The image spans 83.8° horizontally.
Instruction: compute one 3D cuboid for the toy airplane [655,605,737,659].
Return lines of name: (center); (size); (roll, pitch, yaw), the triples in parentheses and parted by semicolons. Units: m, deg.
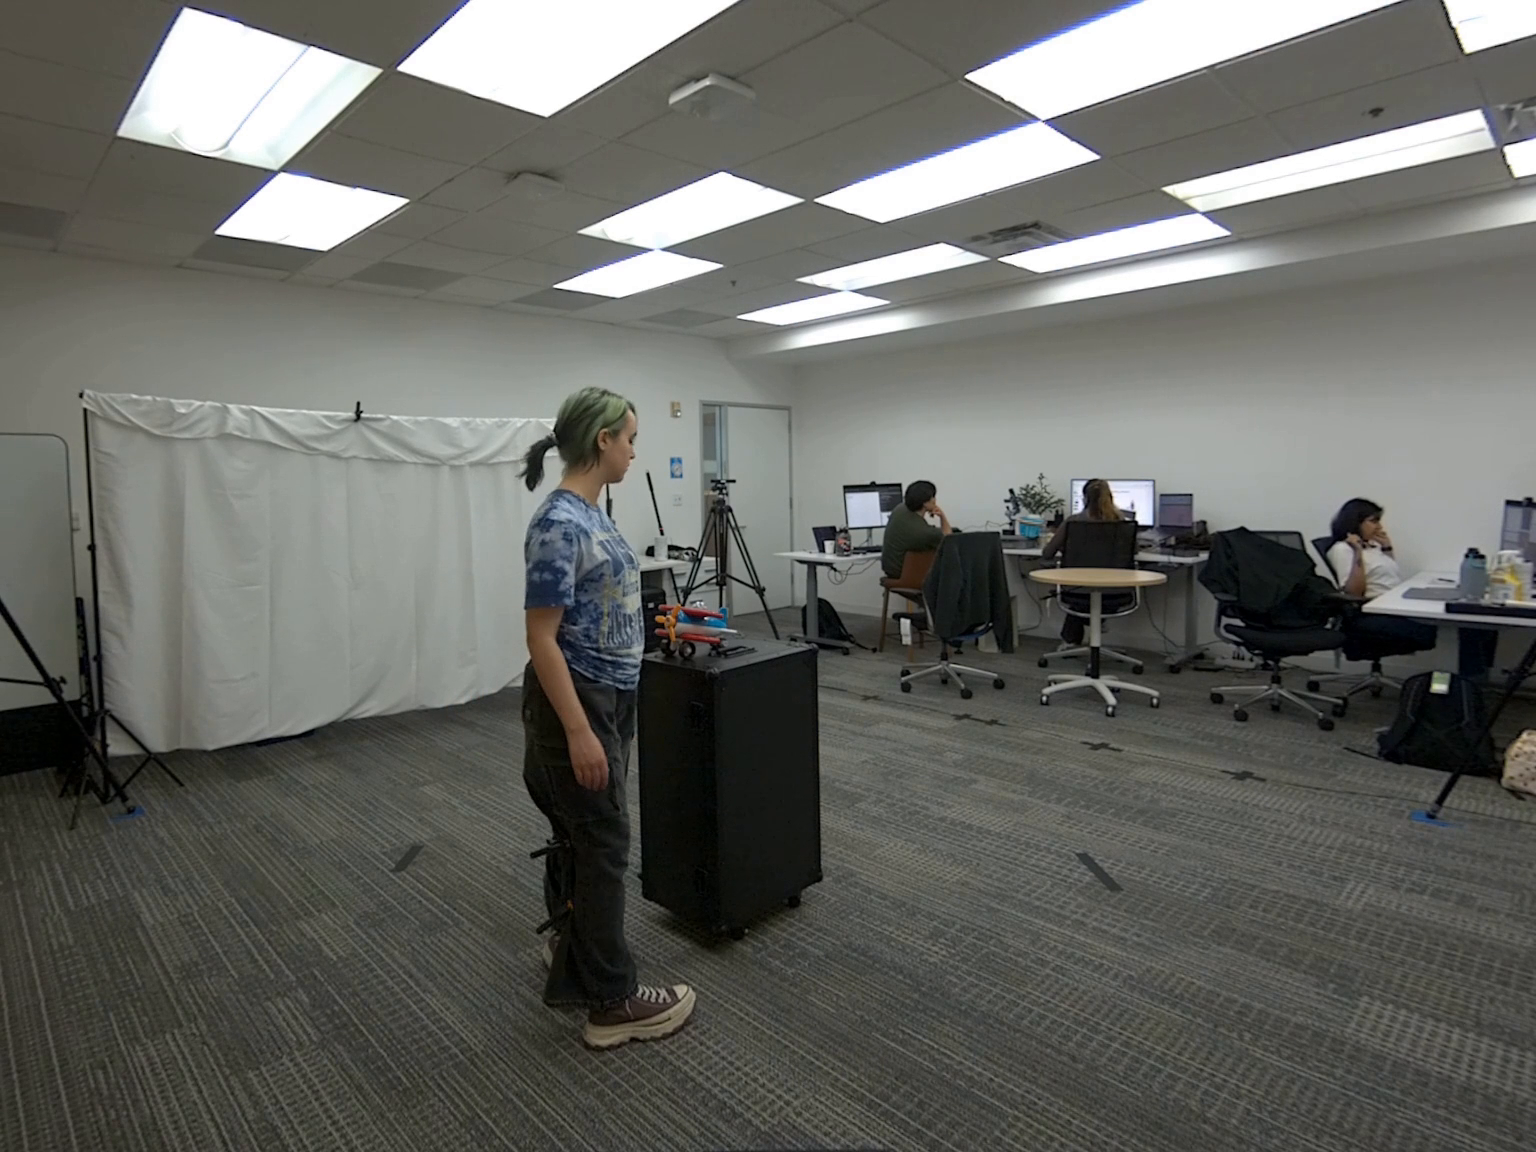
toy airplane: (-0.241, 0.166, 2.733); (0.255, 0.155, 0.257); (0, 6, 15)
